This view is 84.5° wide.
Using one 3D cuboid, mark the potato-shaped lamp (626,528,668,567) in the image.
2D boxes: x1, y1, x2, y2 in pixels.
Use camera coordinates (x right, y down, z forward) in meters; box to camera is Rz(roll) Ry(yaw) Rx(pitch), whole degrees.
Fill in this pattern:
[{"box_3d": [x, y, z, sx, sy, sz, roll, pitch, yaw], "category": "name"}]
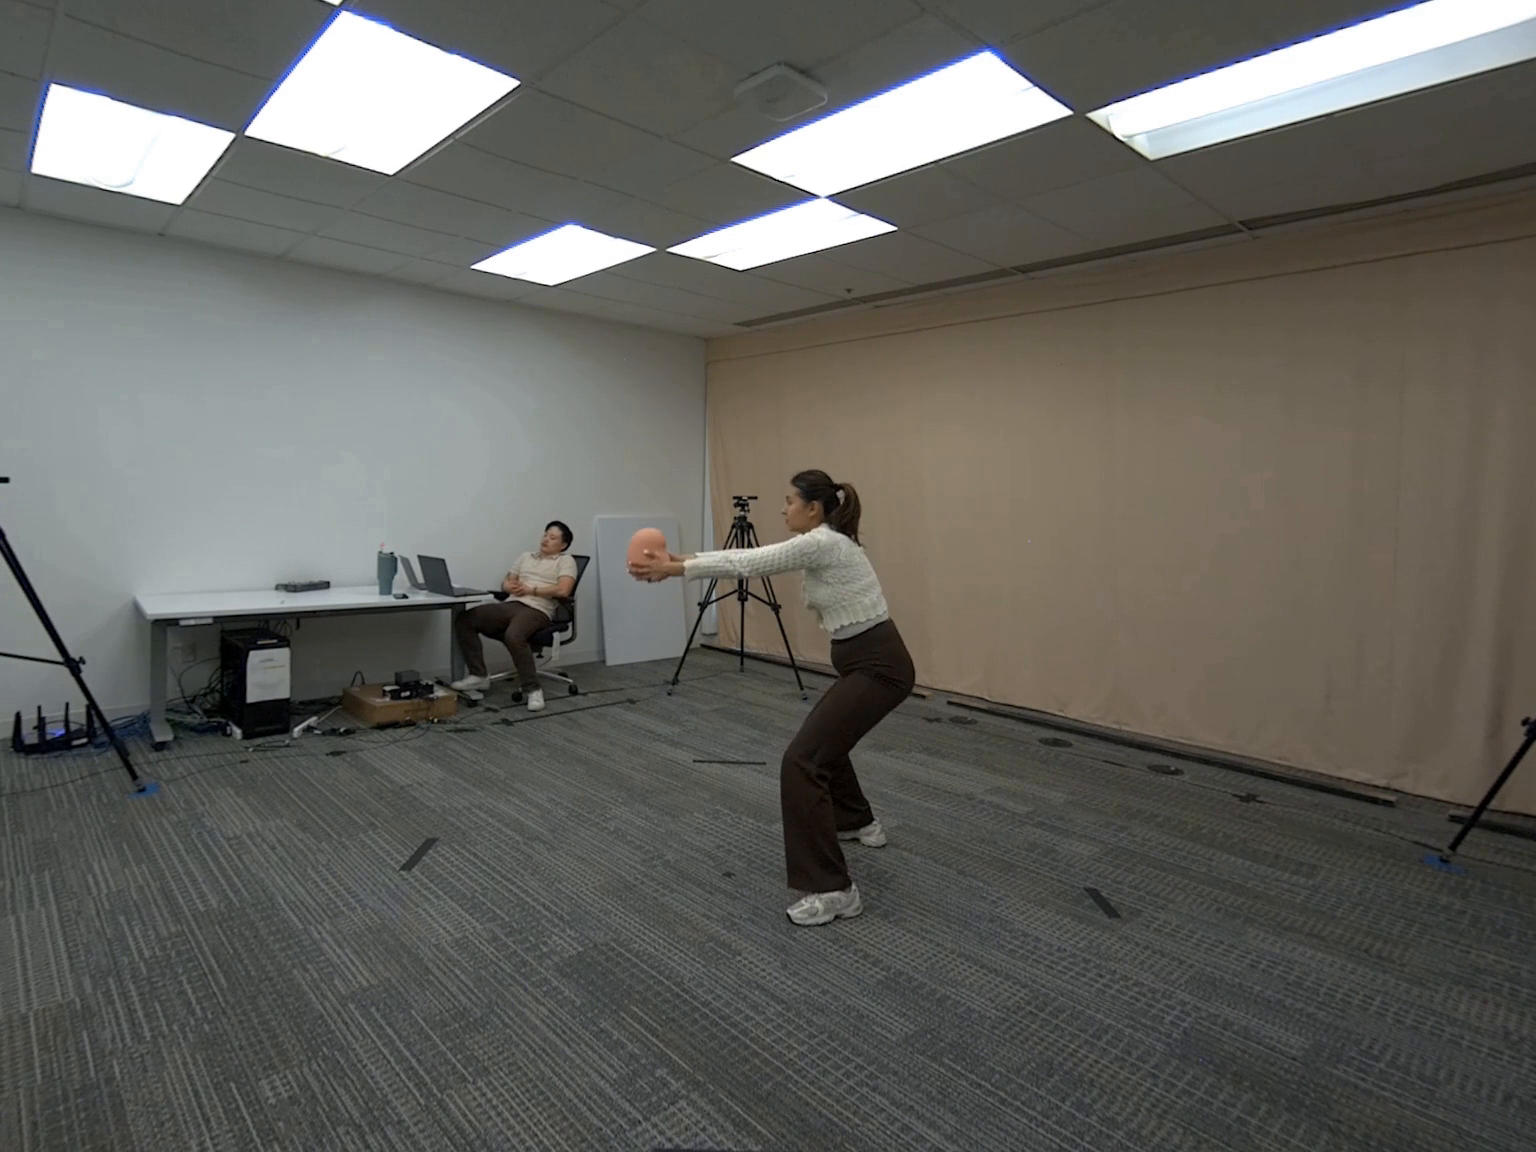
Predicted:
[{"box_3d": [-0.455, -0.080, 3.231, 0.164, 0.198, 0.173, 1, 3, -8], "category": "potato-shaped lamp"}]
